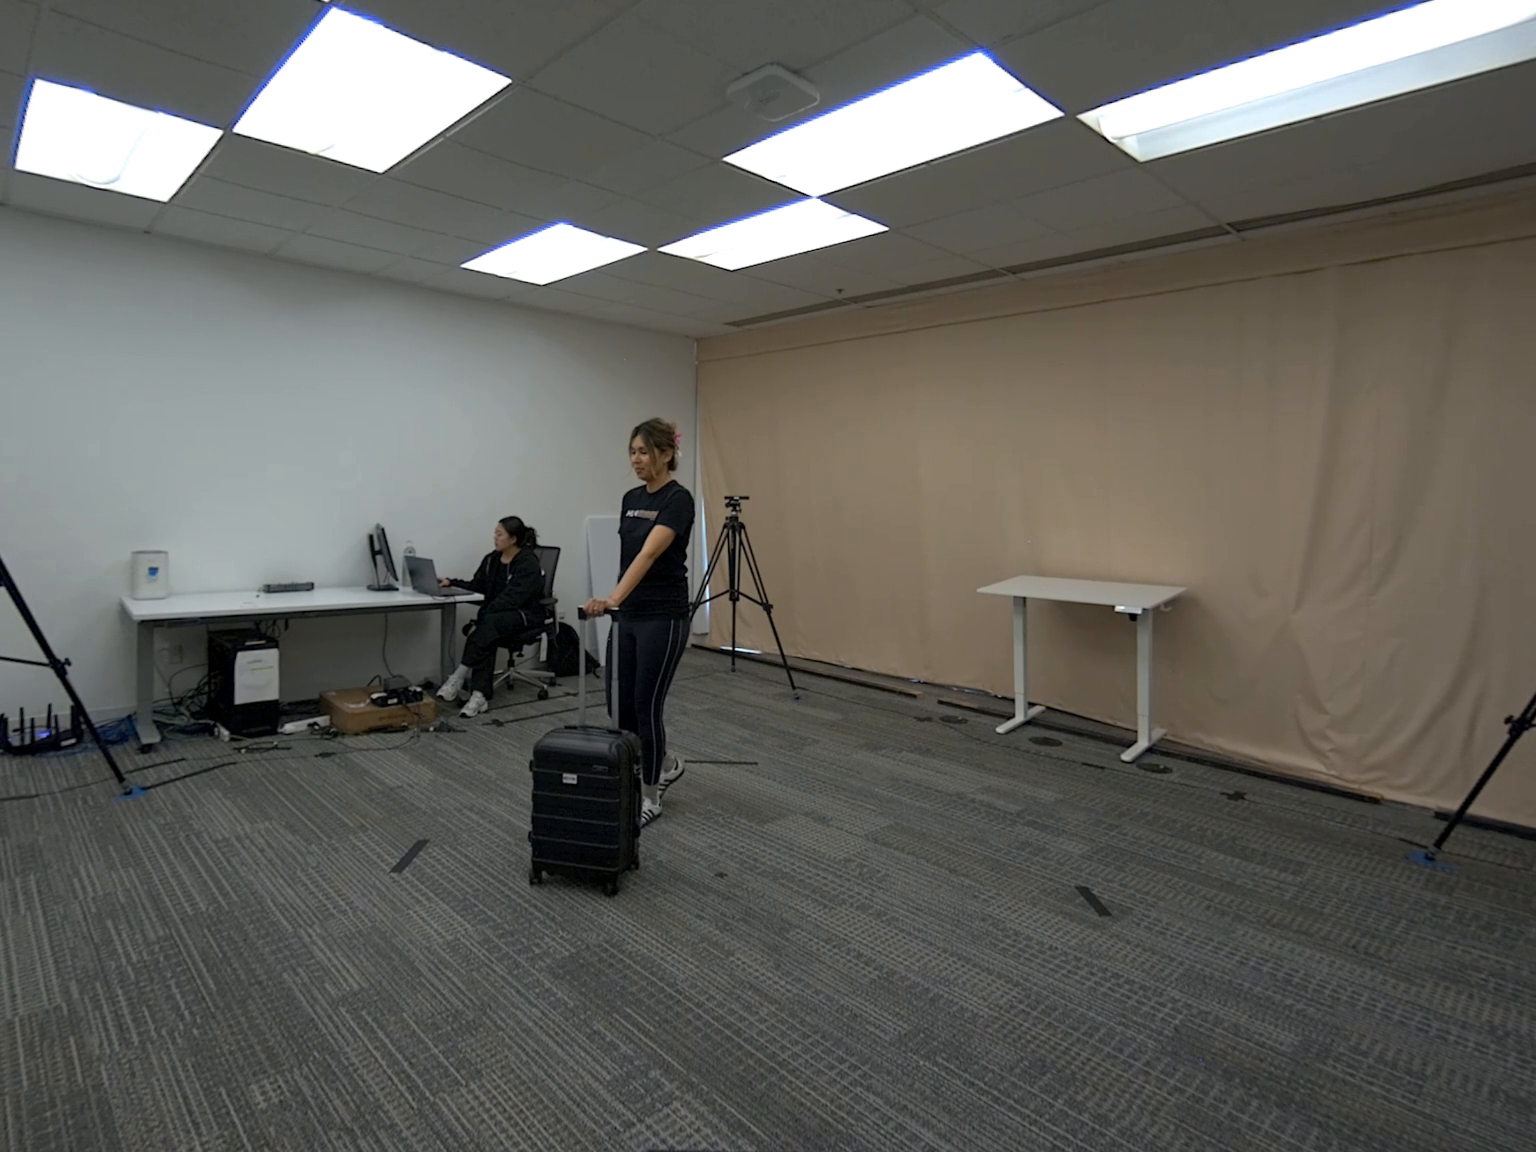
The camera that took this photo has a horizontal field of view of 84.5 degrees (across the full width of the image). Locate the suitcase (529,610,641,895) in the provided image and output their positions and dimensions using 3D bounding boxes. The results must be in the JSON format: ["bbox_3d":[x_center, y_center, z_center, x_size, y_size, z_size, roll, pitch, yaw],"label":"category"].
[{"bbox_3d":[-0.661,0.630,3.015,0.388,0.973,0.256,2,8,12],"label":"suitcase"}]
